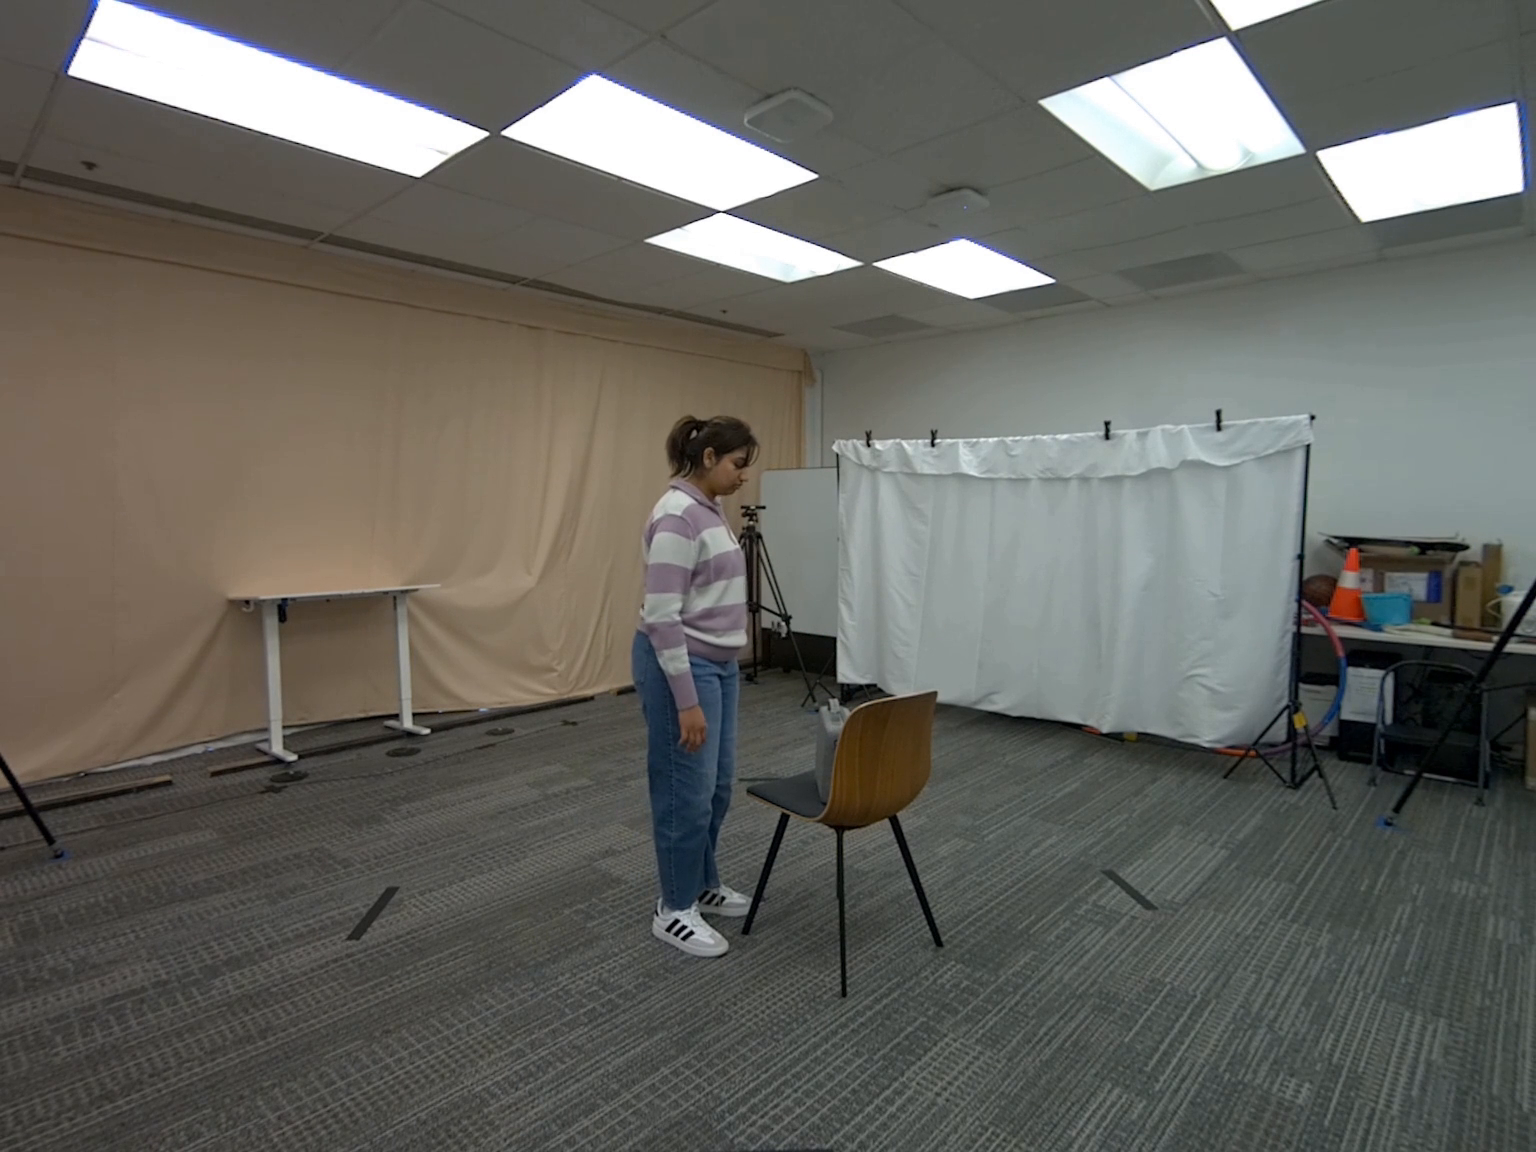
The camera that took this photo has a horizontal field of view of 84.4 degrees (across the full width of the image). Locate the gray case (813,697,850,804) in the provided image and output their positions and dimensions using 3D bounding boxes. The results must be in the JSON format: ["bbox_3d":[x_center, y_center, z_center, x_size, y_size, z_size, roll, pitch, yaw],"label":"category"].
[{"bbox_3d":[0.224,0.559,2.661,0.104,0.259,0.258,1,7,-2],"label":"gray case"}]
